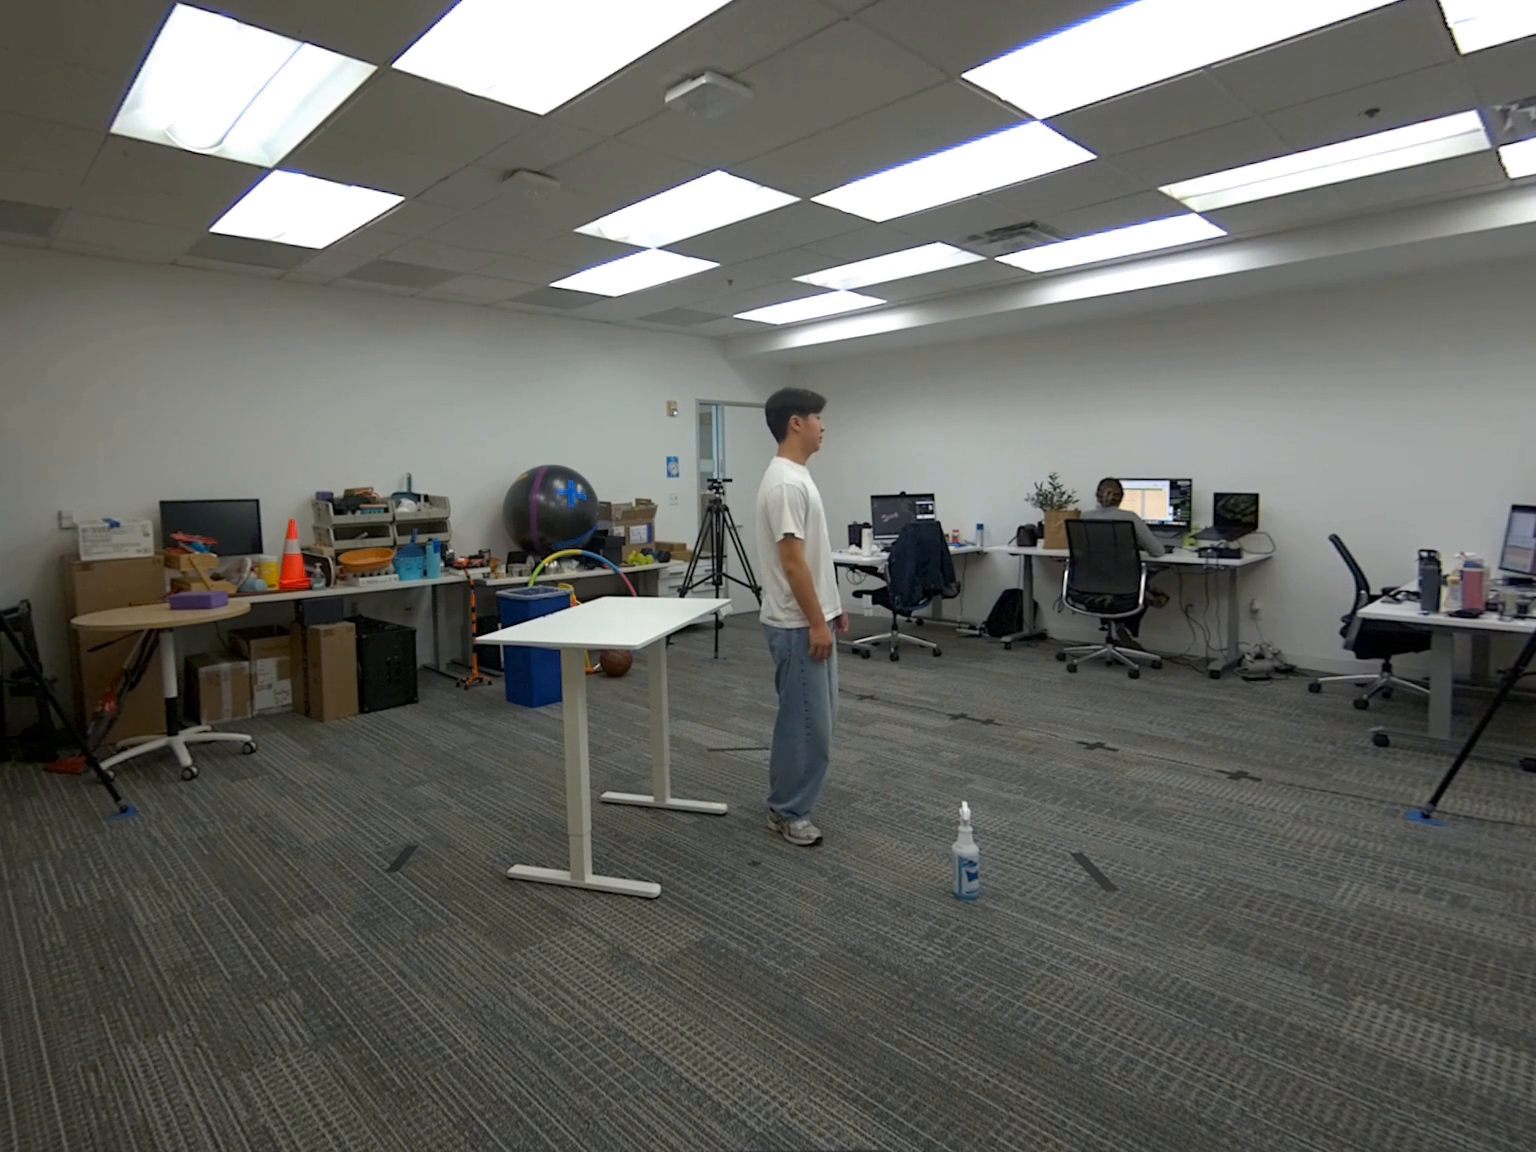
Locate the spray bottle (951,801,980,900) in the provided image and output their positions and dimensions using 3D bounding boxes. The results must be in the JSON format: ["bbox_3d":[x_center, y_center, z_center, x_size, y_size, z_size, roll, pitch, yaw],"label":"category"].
[{"bbox_3d":[0.648,0.914,2.853,0.089,0.297,0.088,-3,2,35],"label":"spray bottle"}]
